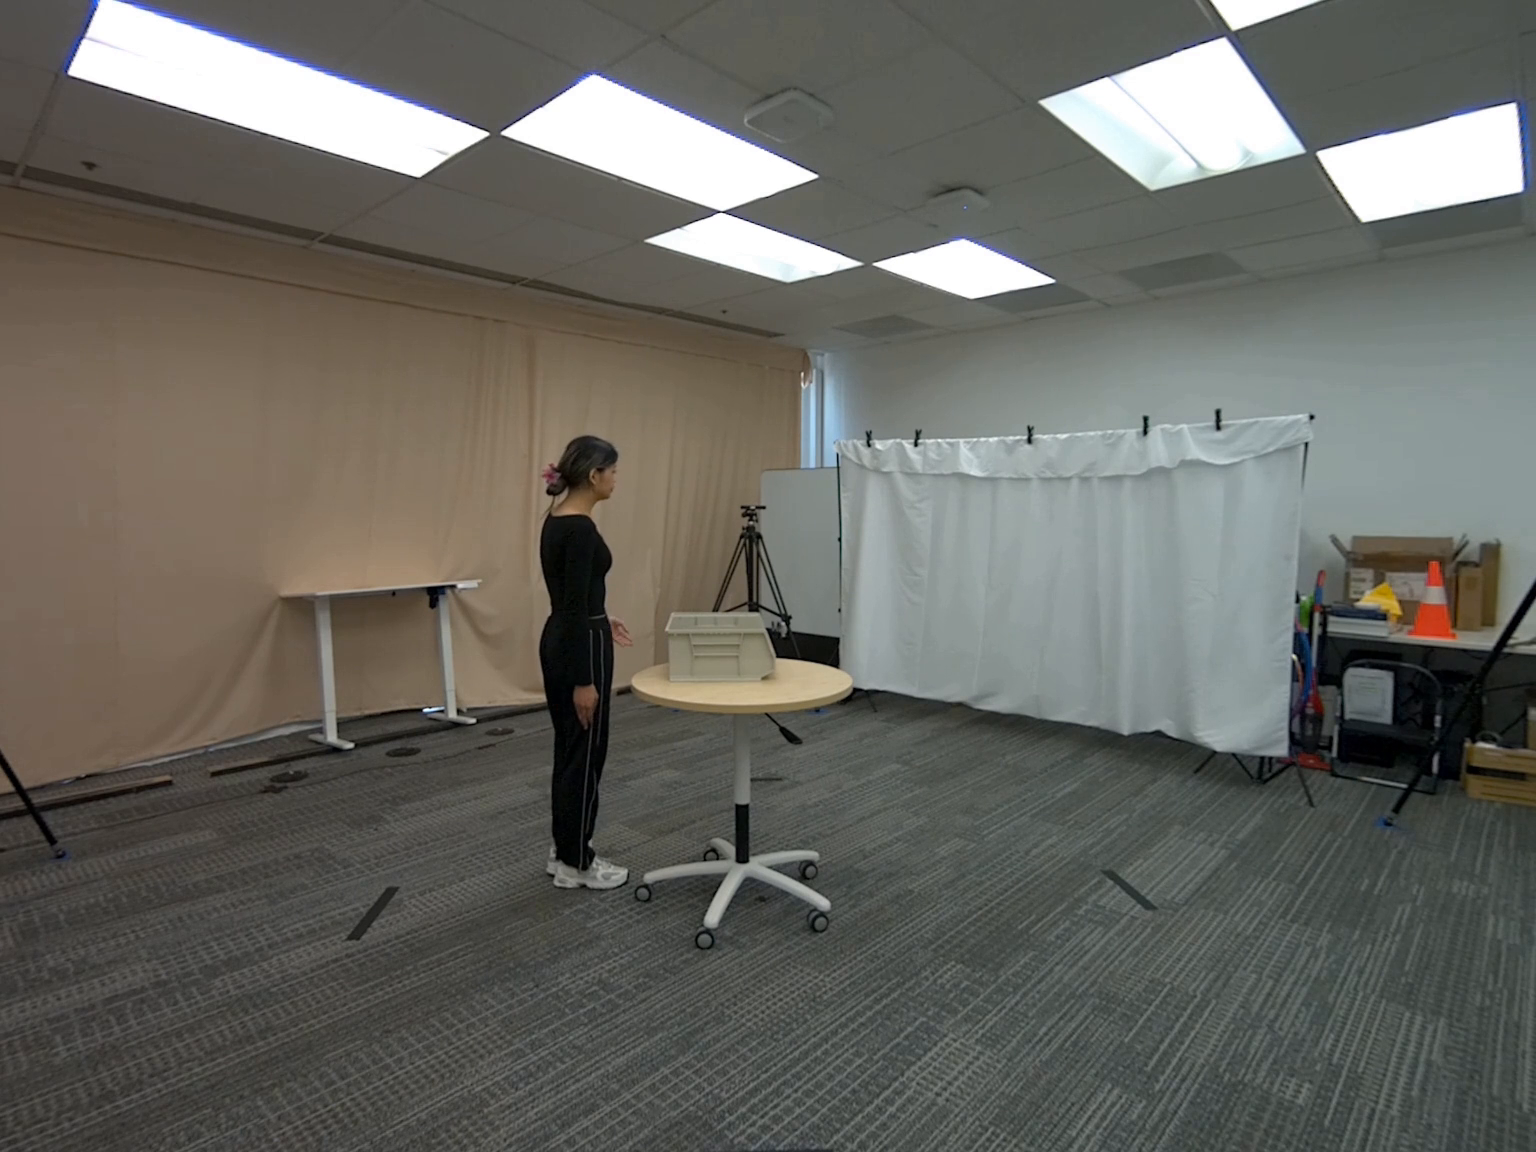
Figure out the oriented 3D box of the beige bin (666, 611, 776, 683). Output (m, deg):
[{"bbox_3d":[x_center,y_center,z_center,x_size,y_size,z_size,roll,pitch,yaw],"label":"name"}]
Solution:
[{"bbox_3d":[-0.170,0.255,3.073,0.377,0.188,0.424,-1,6,-3],"label":"beige bin"}]
